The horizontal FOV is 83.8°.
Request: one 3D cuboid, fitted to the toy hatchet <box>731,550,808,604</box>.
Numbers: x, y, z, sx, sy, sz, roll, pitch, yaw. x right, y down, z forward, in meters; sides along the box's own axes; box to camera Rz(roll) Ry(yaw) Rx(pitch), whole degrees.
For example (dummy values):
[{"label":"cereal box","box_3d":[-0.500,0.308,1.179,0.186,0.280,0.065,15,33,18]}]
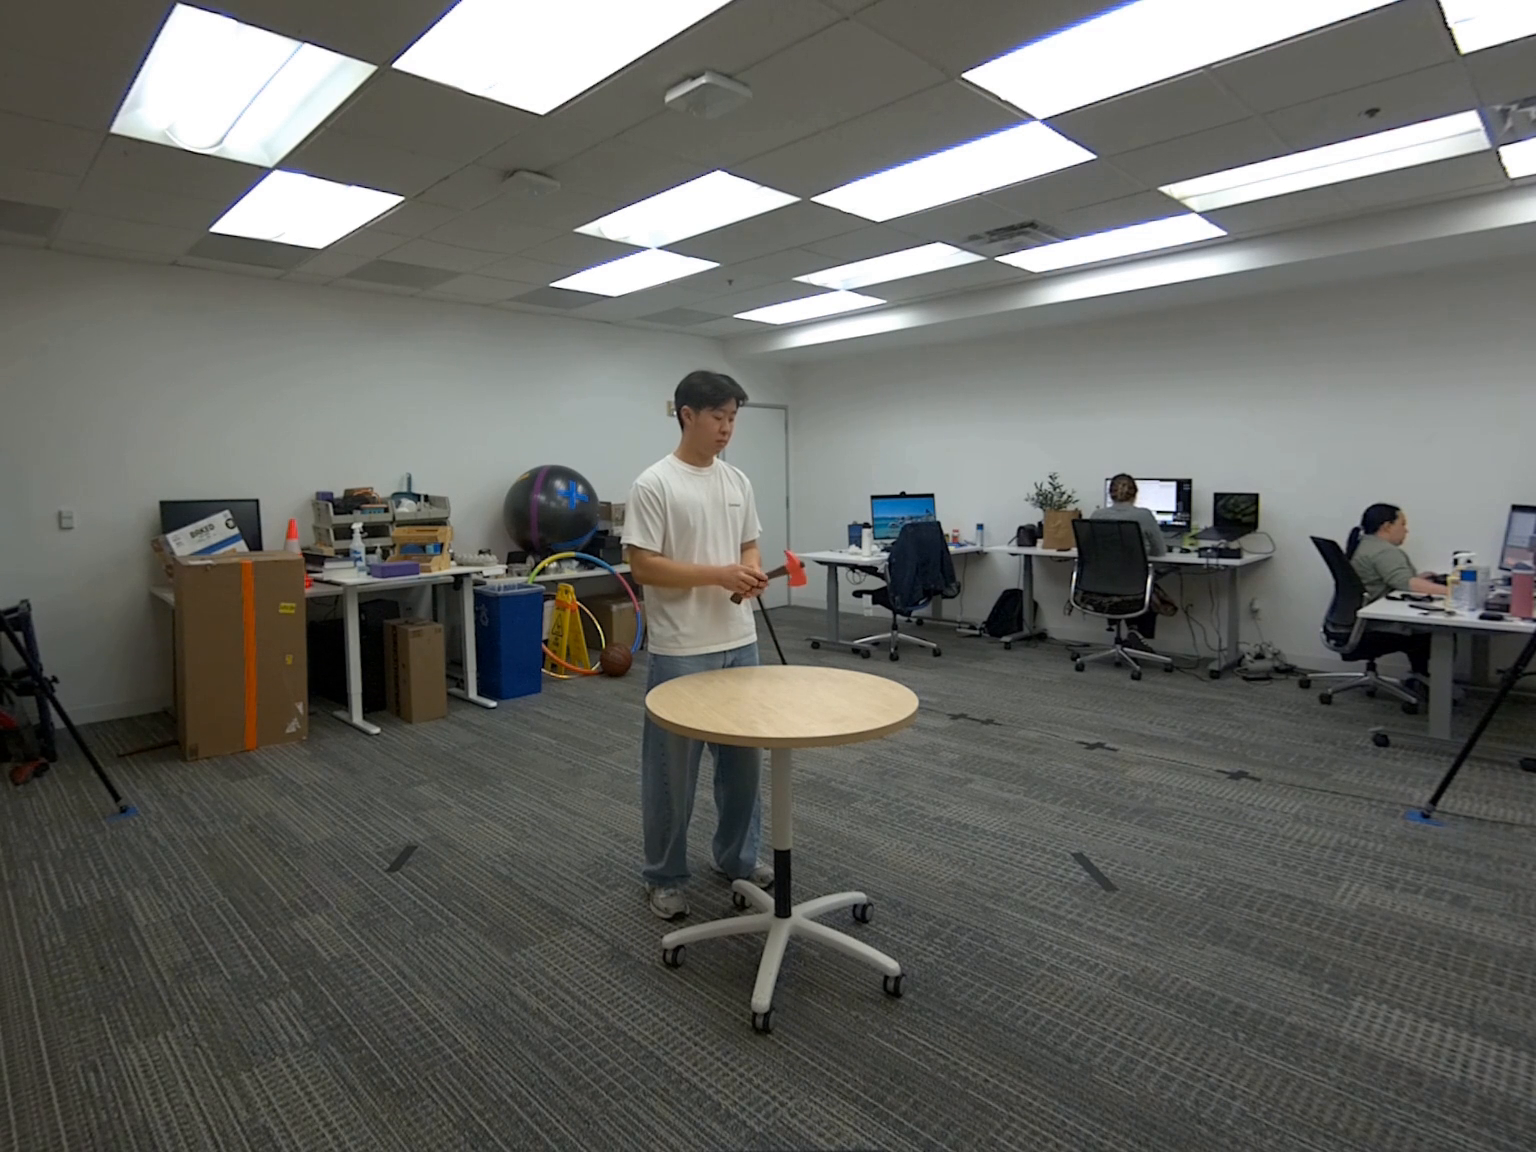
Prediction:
[{"label":"toy hatchet","box_3d":[0.015,0.031,2.641,0.271,0.129,0.030,-40,14,30]}]
